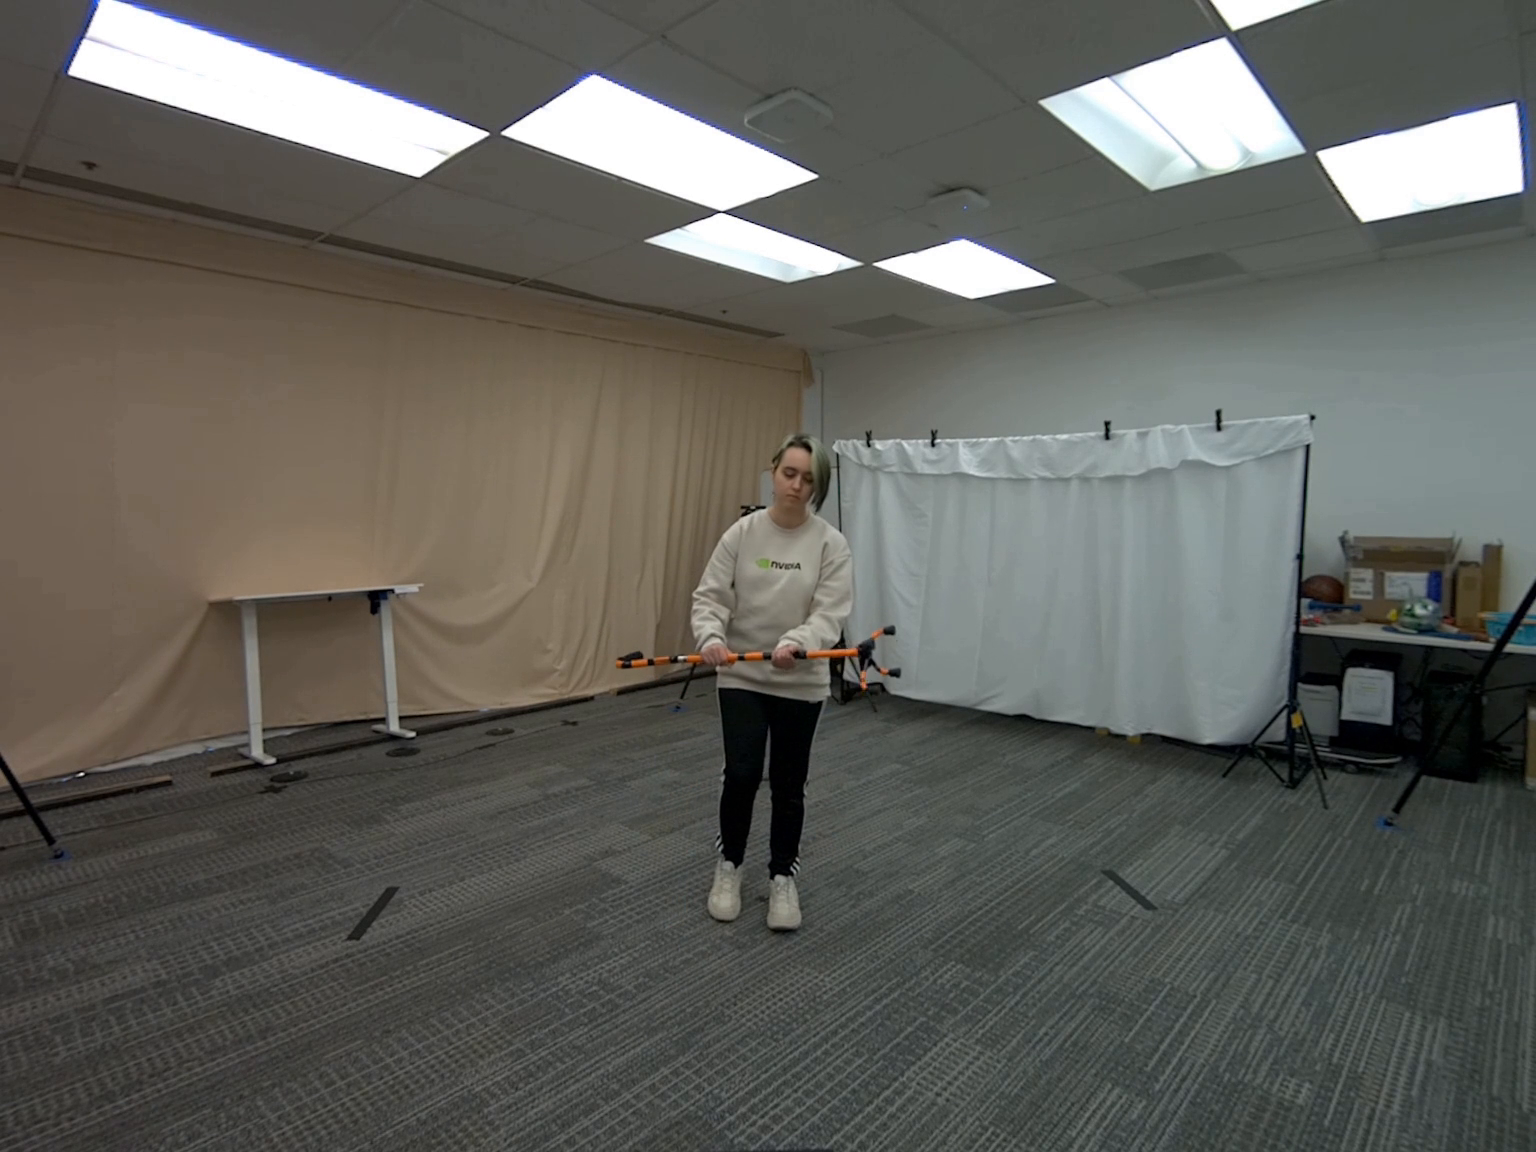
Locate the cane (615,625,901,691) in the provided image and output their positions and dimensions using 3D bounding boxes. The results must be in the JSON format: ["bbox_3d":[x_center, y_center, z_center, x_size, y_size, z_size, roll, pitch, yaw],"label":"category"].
[{"bbox_3d":[-0.097,0.261,2.527,0.931,0.151,0.202,-4,7,29],"label":"cane"}]
